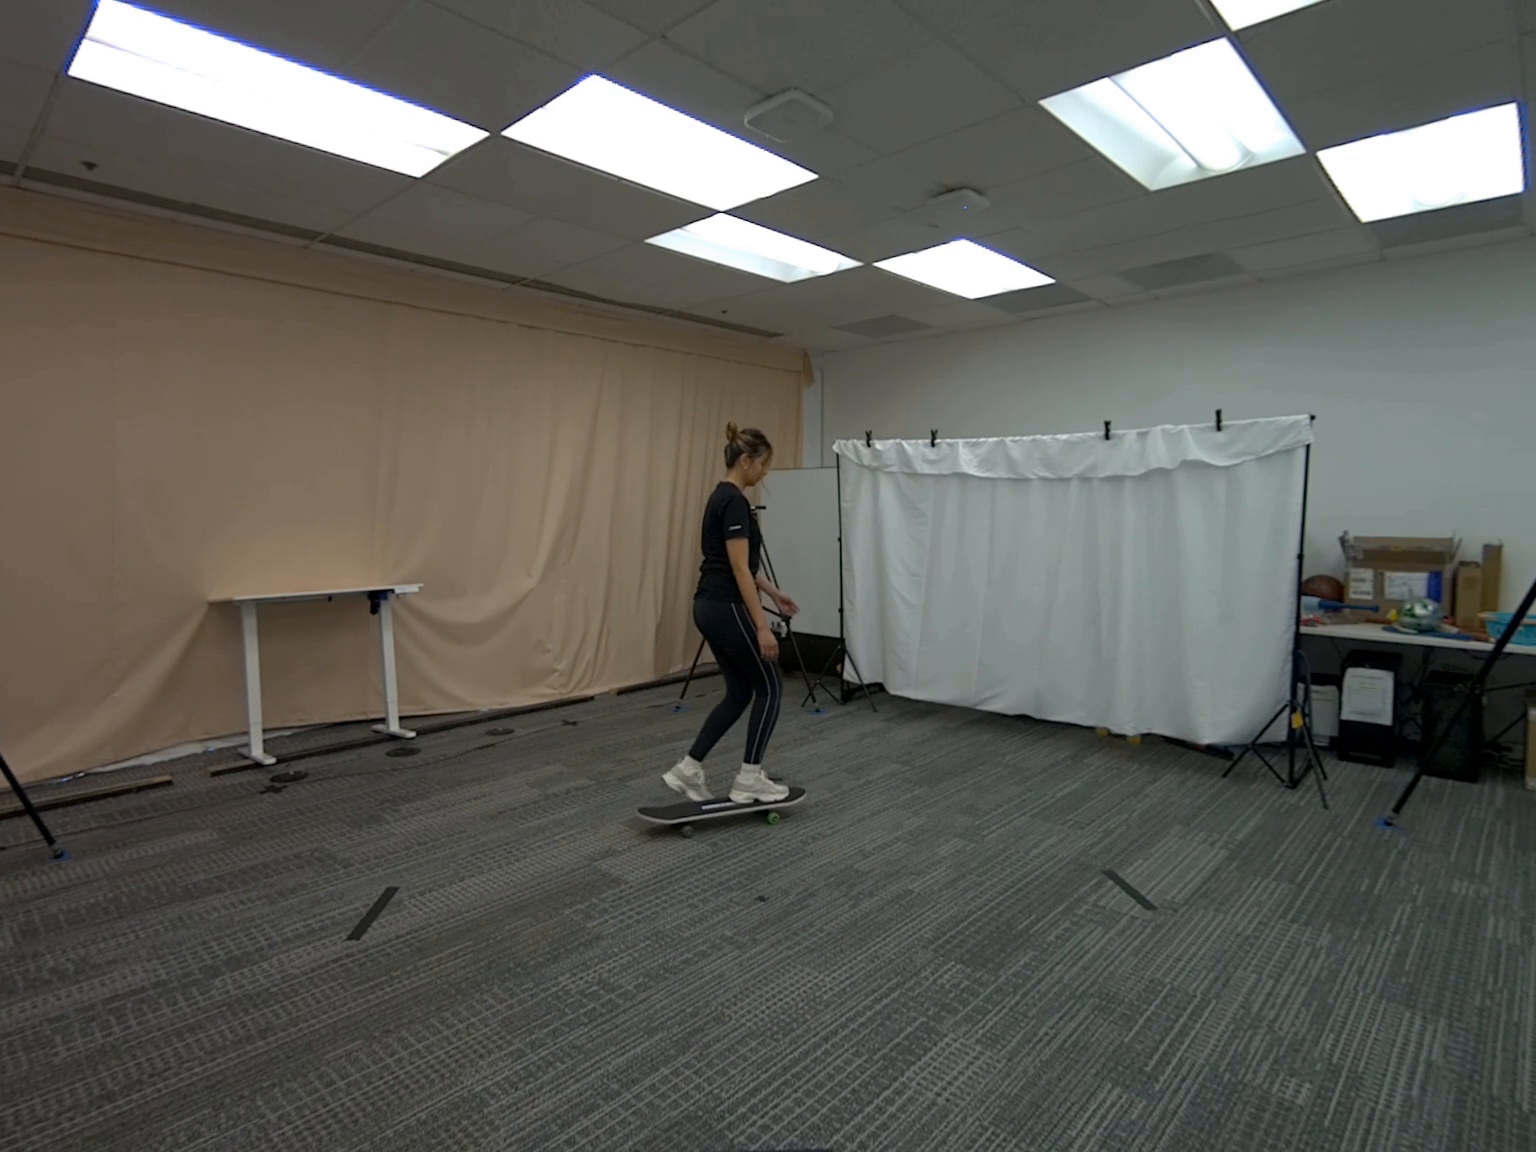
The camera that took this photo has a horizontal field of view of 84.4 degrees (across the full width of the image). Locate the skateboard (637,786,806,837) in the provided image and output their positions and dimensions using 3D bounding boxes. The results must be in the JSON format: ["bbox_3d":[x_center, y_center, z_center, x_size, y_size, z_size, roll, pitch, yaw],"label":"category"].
[{"bbox_3d":[-0.197,1.033,3.684,0.769,0.110,0.198,-2,3,-22],"label":"skateboard"}]
